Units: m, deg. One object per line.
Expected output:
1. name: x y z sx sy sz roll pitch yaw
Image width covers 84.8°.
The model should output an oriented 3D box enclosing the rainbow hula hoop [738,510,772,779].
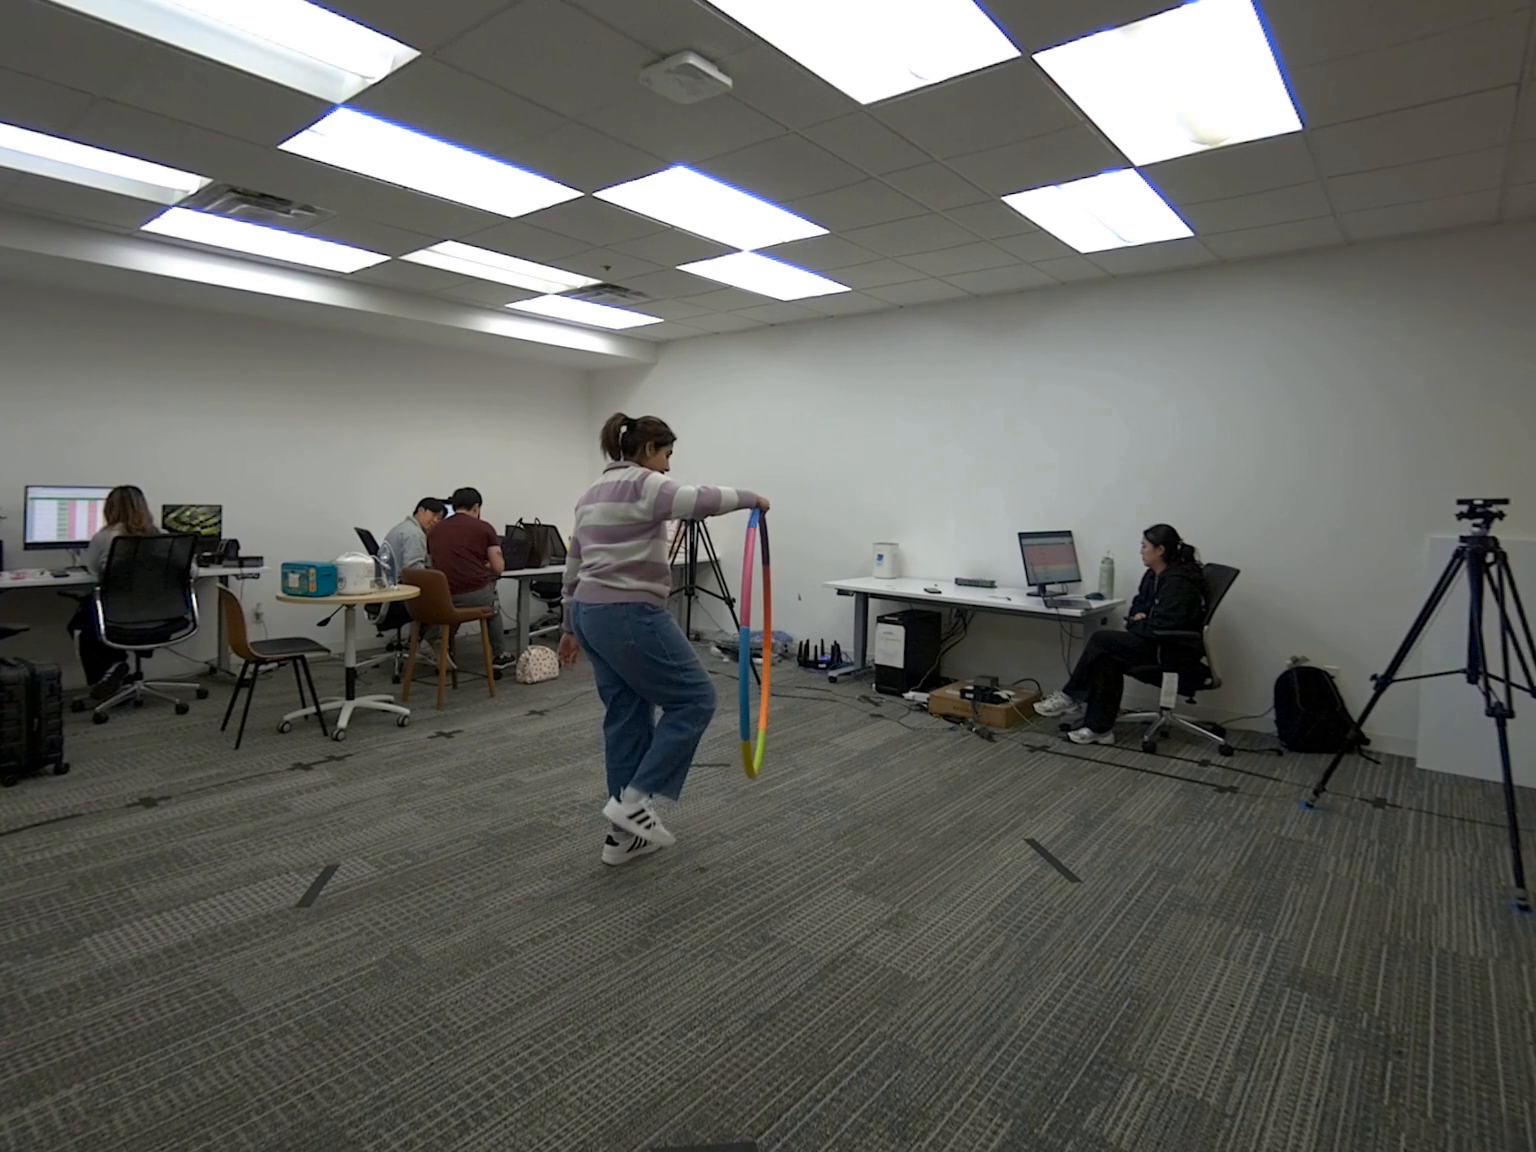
1. rainbow hula hoop: -0.056 0.230 3.112 0.052 0.982 0.983 2 4 3
